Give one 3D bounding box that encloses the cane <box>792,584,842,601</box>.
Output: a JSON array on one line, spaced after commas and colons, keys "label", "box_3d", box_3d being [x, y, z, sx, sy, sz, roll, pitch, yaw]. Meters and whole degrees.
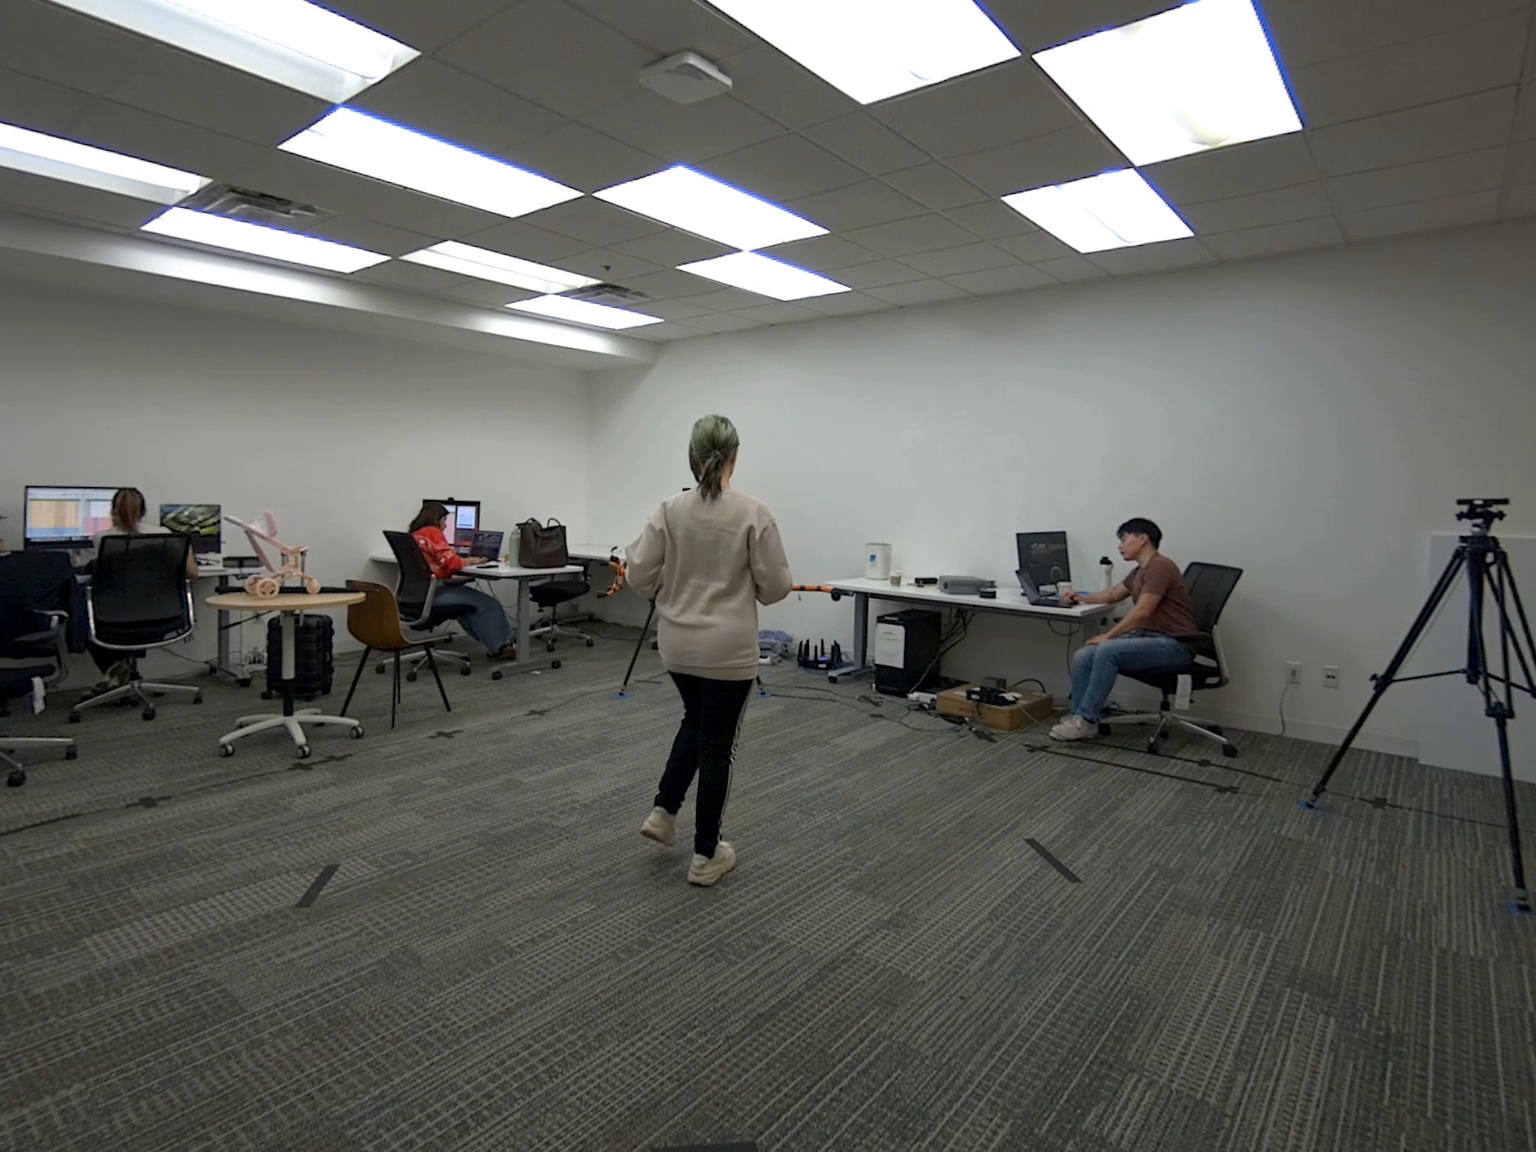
[{"label": "cane", "box_3d": [-0.199, 0.026, 3.299, 0.910, 0.151, 0.206, 3, 4, 2]}]
